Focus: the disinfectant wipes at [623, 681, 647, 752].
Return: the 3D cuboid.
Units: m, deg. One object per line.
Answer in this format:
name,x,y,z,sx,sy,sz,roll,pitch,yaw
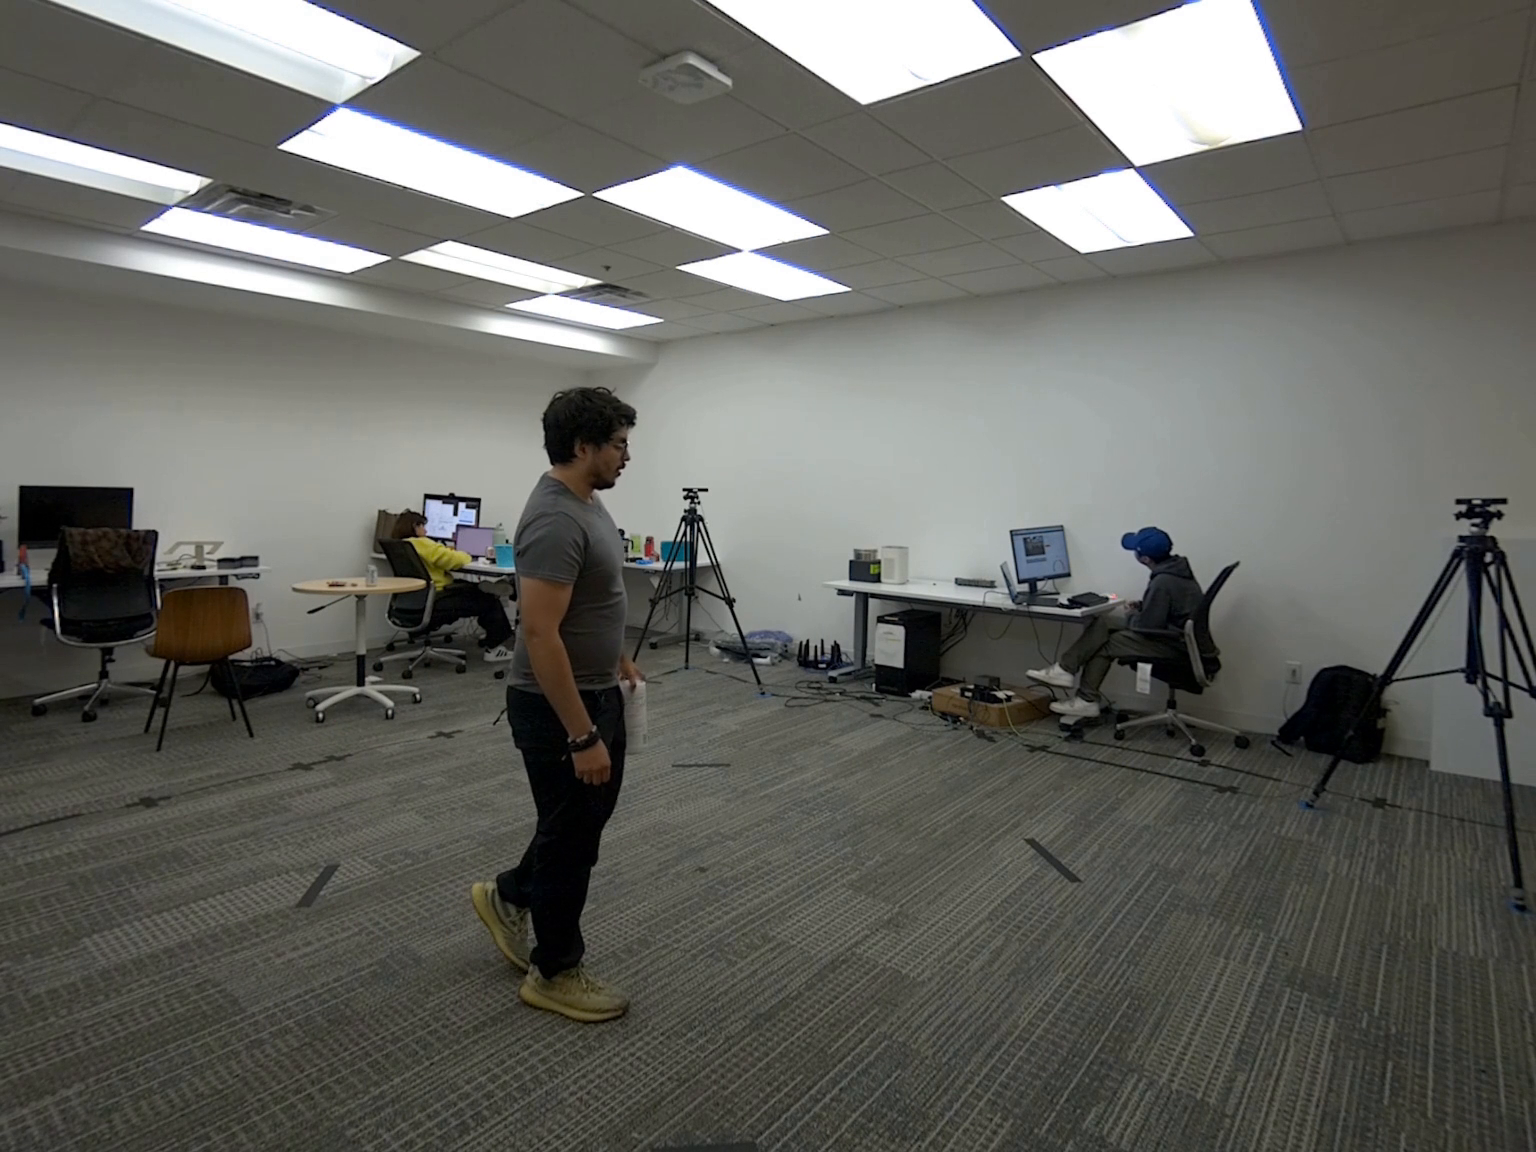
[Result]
disinfectant wipes,-0.442,0.440,2.635,0.118,0.217,0.118,-3,0,-2
